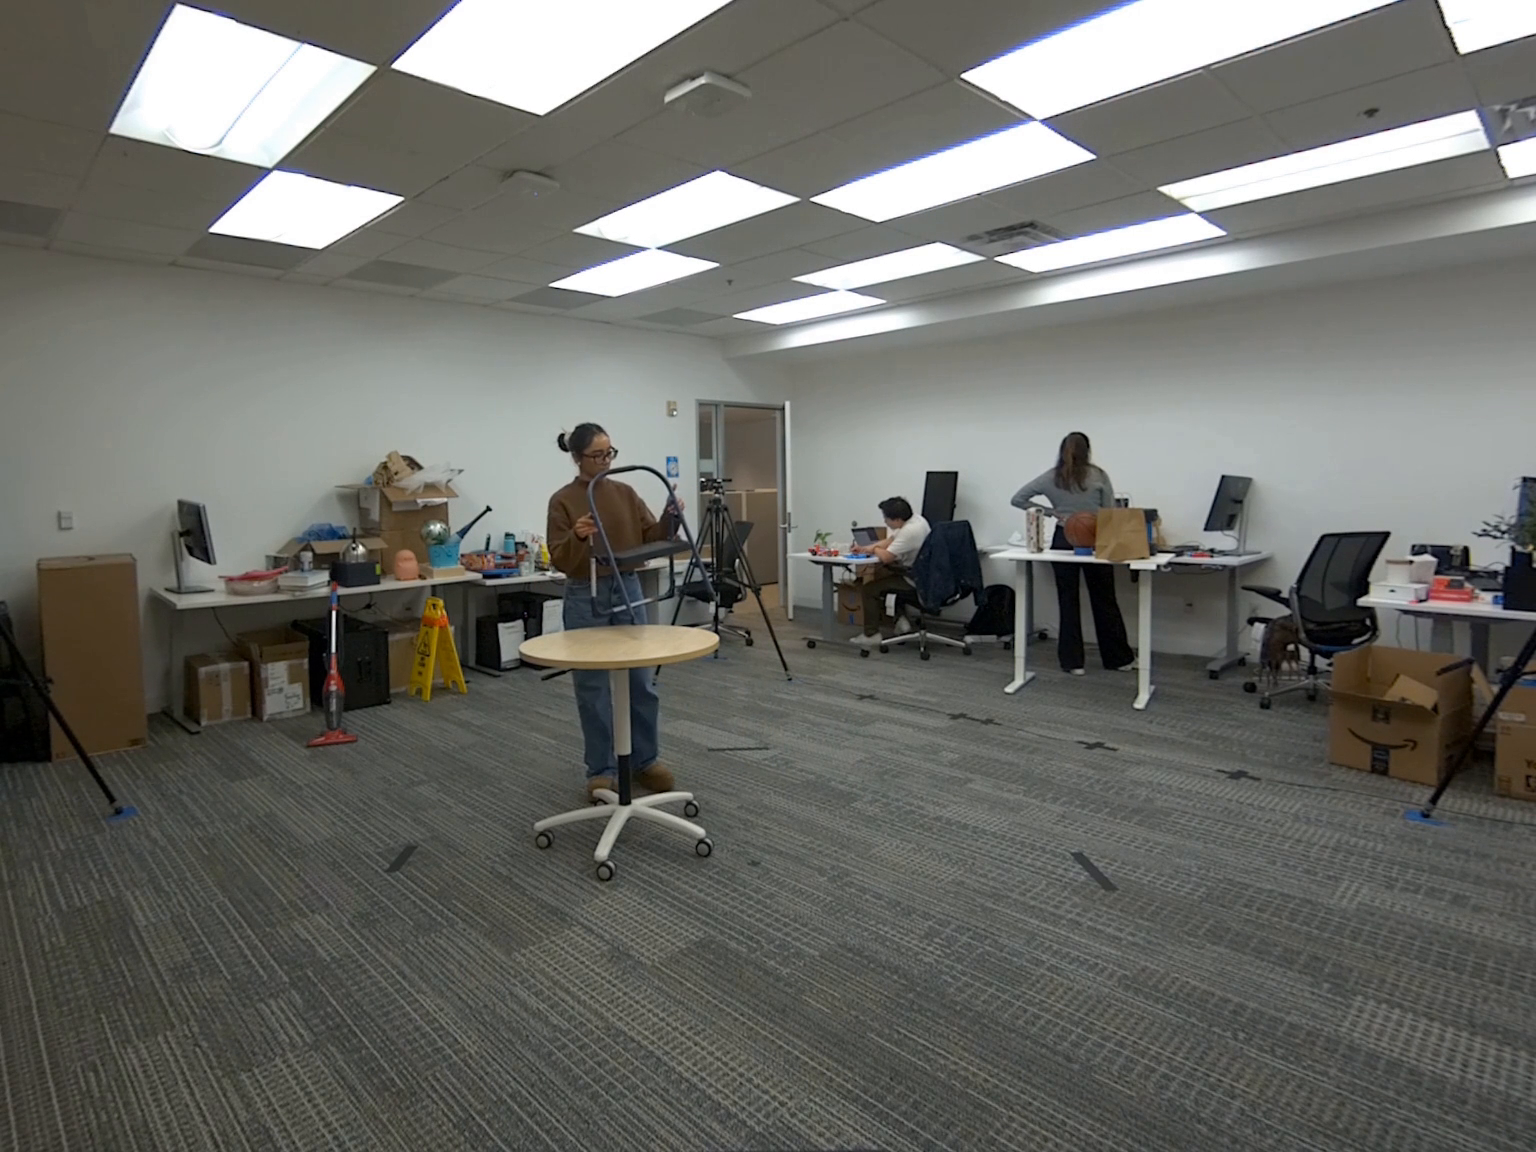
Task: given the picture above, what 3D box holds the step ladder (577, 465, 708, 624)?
[{"bbox_3d":[-0.514,-0.150,3.535,0.421,0.602,0.359,-14,9,-39],"label":"step ladder"}]
